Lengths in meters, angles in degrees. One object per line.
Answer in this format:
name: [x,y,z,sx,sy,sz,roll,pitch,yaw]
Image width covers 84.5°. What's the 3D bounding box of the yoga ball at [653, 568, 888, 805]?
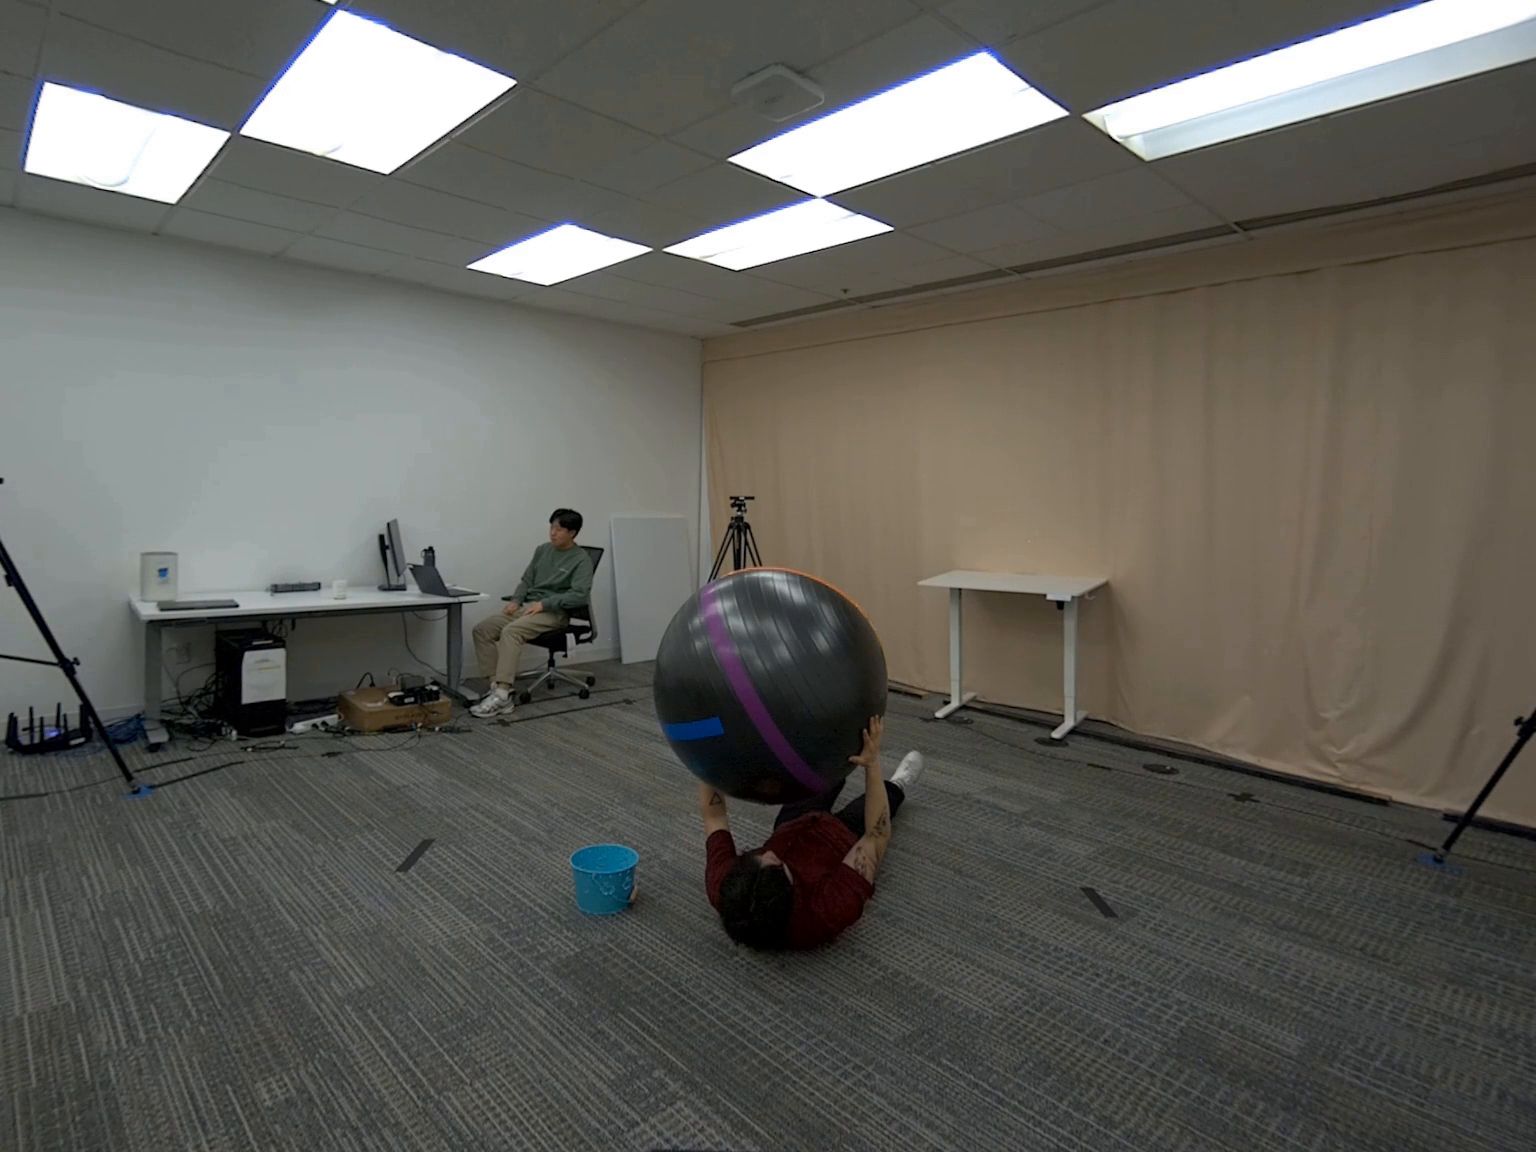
yoga ball: [0.003,0.355,2.759,0.757,0.756,0.761,1,4,-1]
